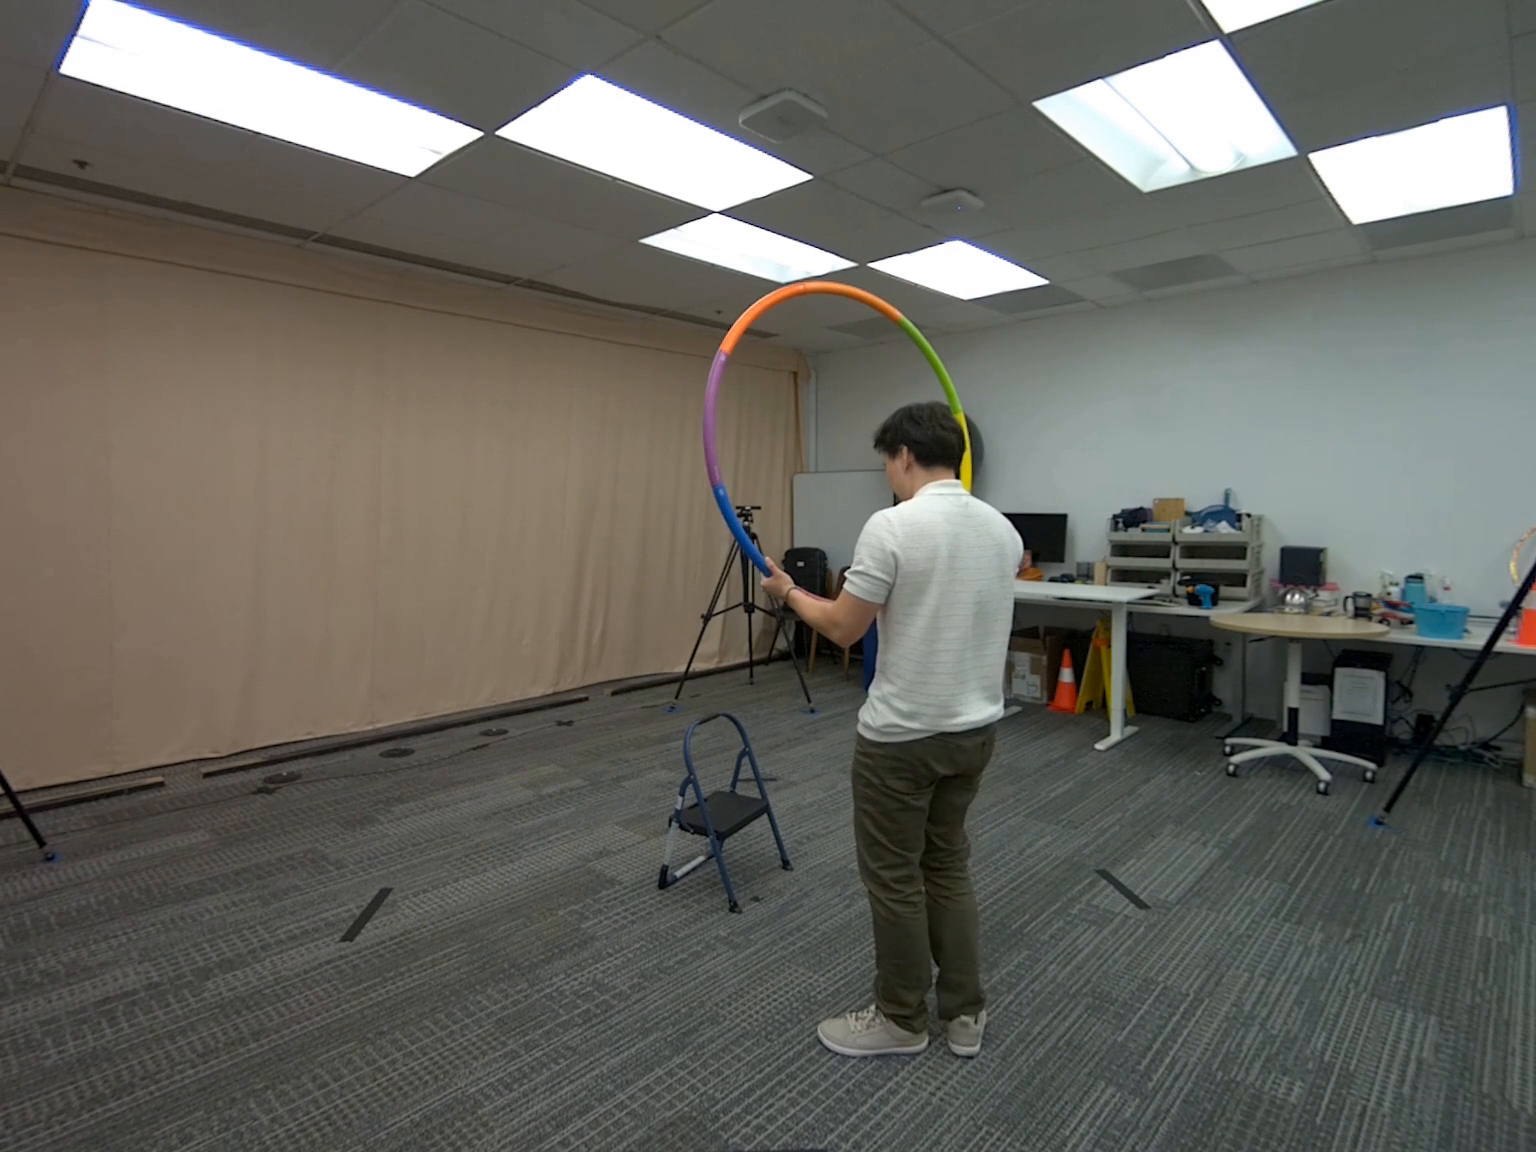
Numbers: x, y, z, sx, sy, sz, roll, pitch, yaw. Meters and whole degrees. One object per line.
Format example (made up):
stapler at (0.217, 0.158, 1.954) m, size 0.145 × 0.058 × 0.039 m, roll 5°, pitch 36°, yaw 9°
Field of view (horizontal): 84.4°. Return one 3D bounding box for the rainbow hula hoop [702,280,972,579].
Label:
rainbow hula hoop at (0.247, -0.379, 2.471) m, size 0.951 × 0.981 × 0.036 m, roll -2°, pitch -4°, yaw -32°
